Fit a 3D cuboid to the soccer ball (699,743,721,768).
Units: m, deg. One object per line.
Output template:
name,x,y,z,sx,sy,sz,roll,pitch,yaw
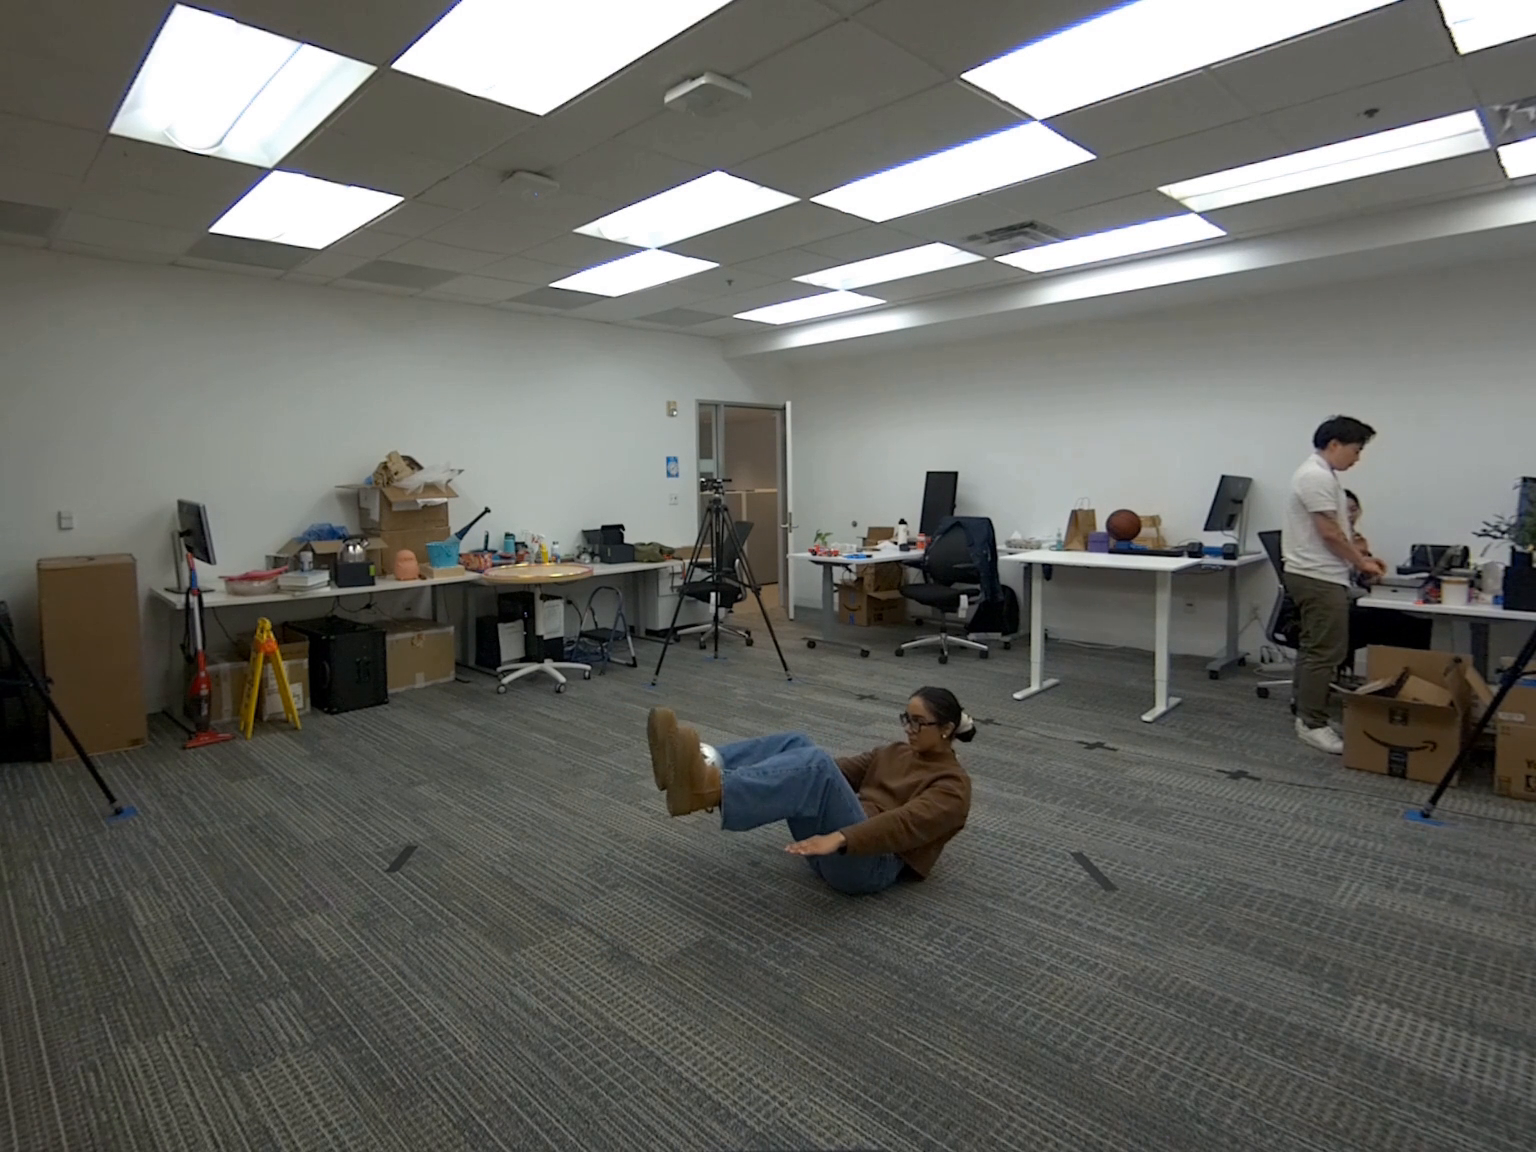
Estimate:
soccer ball,-0.213,0.635,2.769,0.187,0.187,0.188,-1,5,-2
